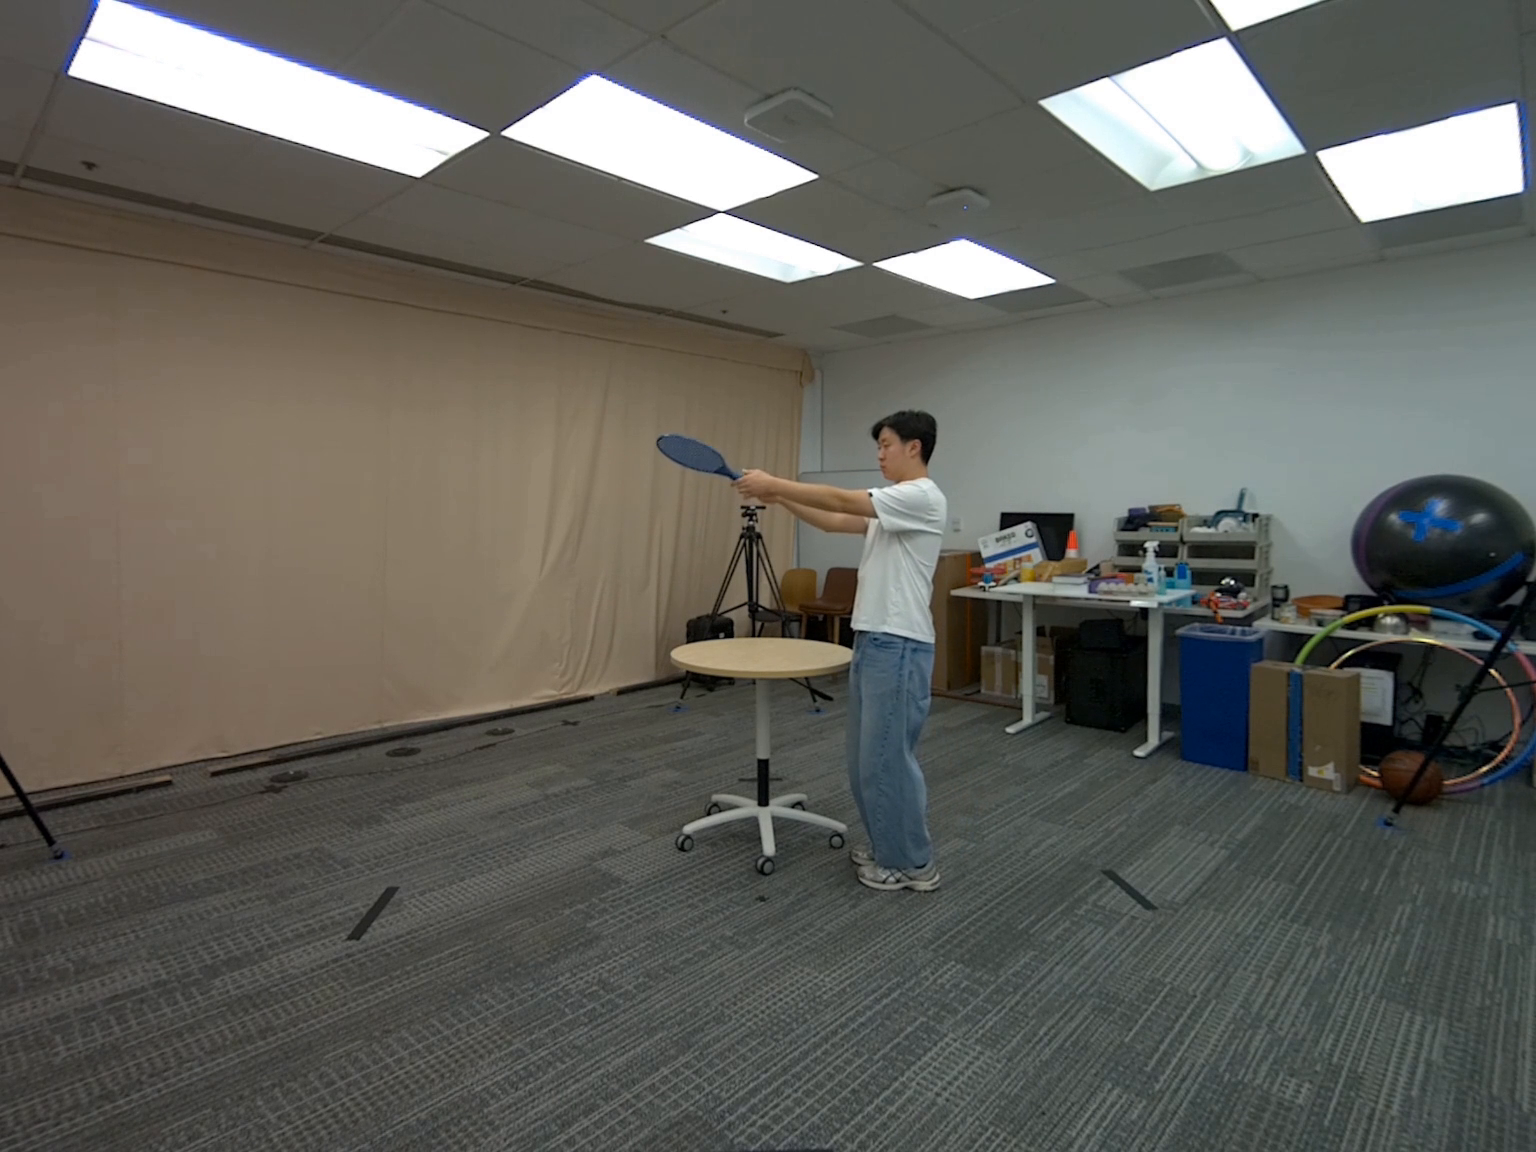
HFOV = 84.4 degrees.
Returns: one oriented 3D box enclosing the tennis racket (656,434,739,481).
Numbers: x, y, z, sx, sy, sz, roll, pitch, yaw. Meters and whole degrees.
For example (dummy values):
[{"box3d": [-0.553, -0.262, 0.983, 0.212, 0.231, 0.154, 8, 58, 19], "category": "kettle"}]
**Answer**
[{"box3d": [-0.210, -0.404, 3.040, 0.421, 0.032, 0.218, 25, -21, -23], "category": "tennis racket"}]
